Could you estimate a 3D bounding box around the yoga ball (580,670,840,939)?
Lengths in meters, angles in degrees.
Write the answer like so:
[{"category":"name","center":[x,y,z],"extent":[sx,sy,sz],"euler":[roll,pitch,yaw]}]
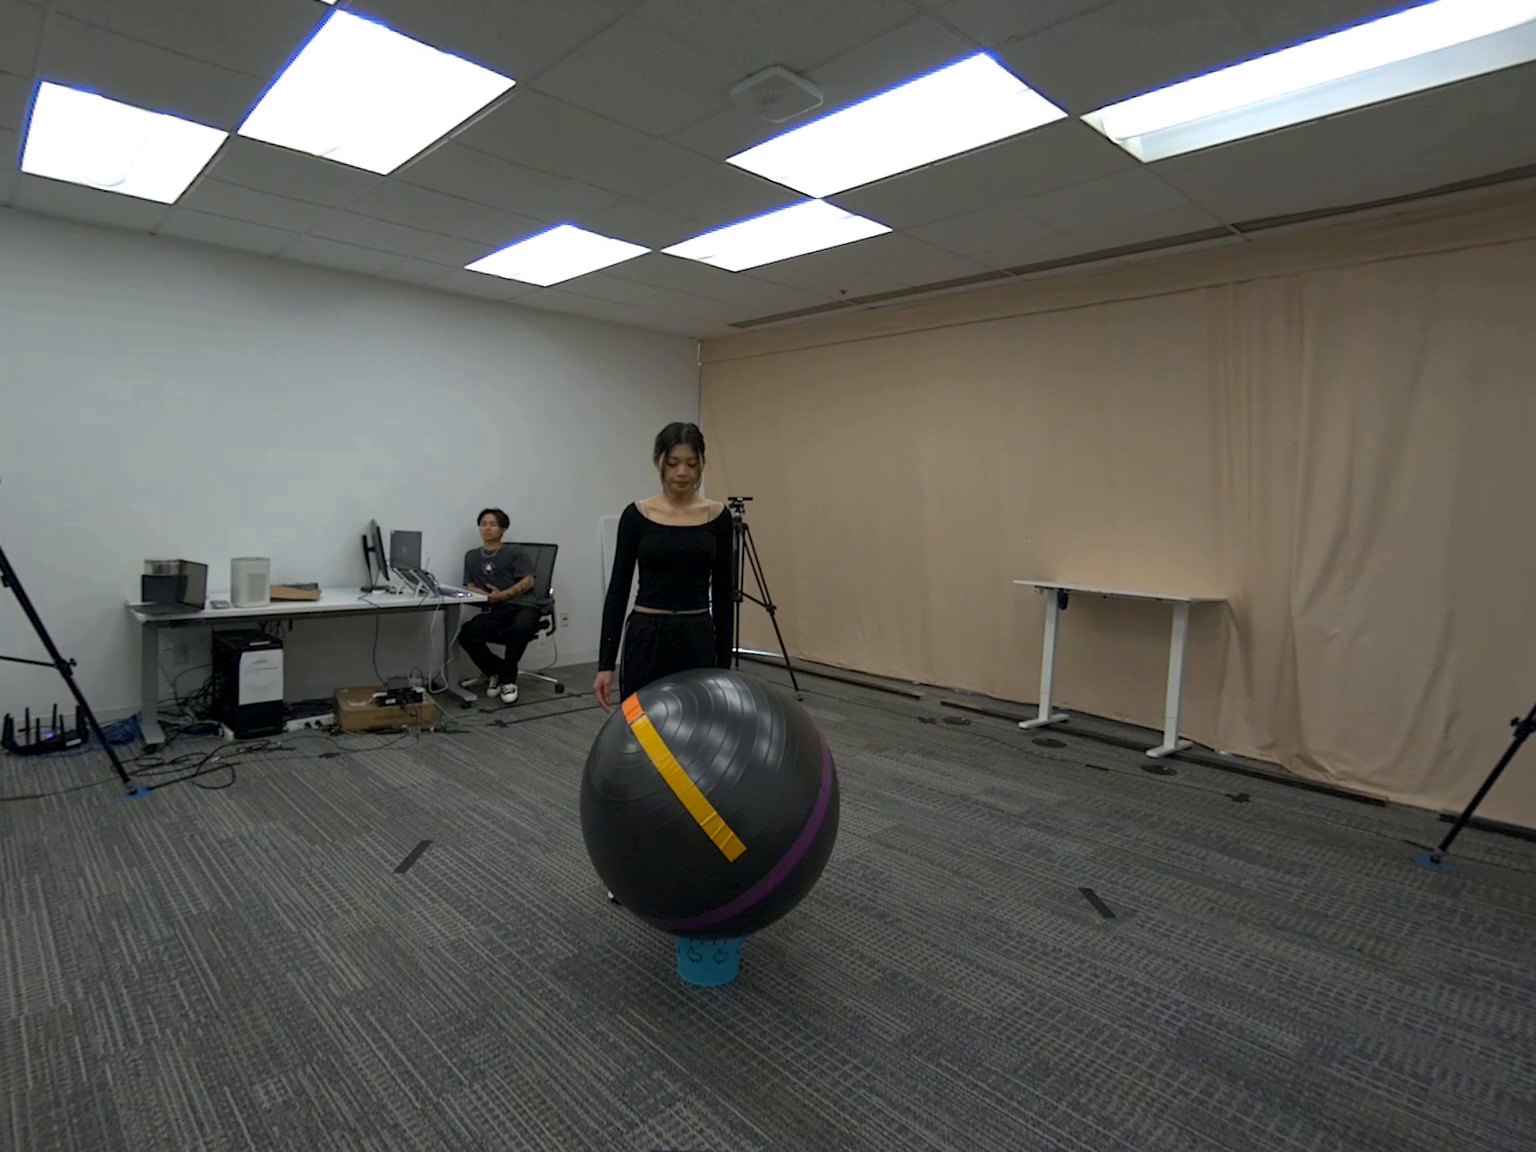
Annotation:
[{"category":"yoga ball","center":[-0.172,0.656,2.459],"extent":[0.757,0.756,0.761],"euler":[1,4,-1]}]
